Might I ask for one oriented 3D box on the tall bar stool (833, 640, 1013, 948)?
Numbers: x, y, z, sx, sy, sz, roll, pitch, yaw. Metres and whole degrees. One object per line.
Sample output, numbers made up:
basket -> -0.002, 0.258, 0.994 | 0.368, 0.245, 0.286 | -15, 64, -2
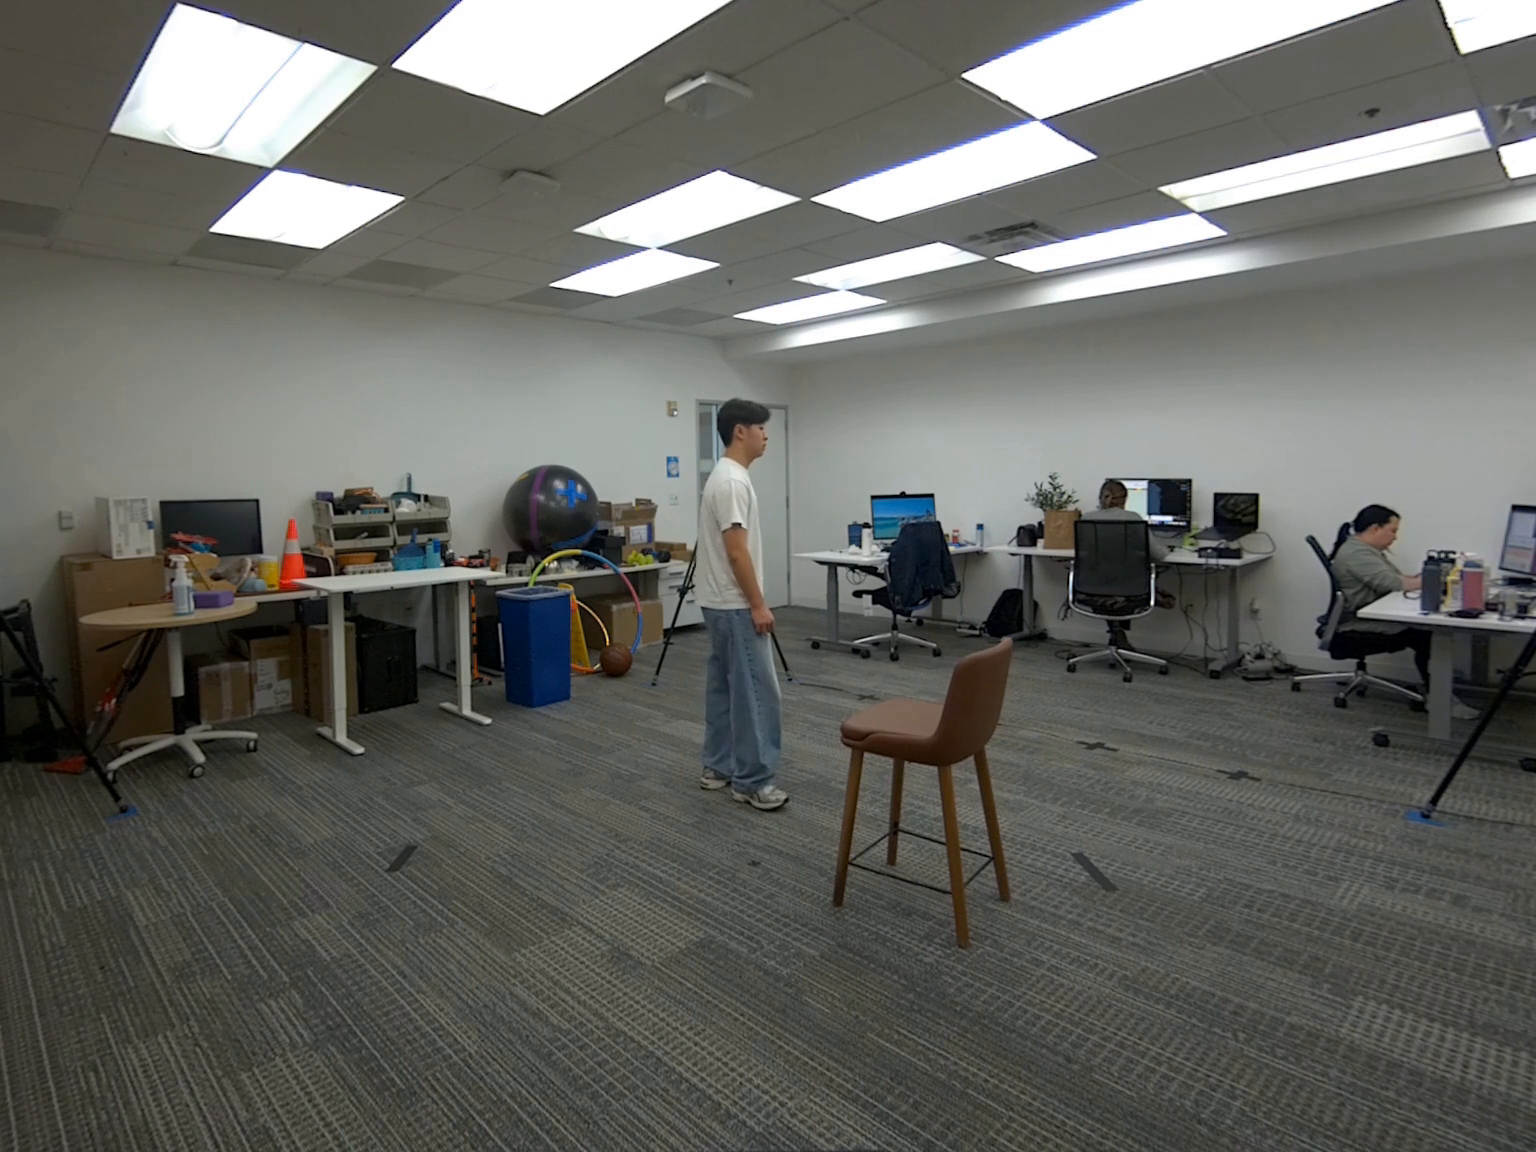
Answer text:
tall bar stool -> 0.516, 0.640, 2.772 | 0.482, 0.885, 0.445 | 5, 7, 37
